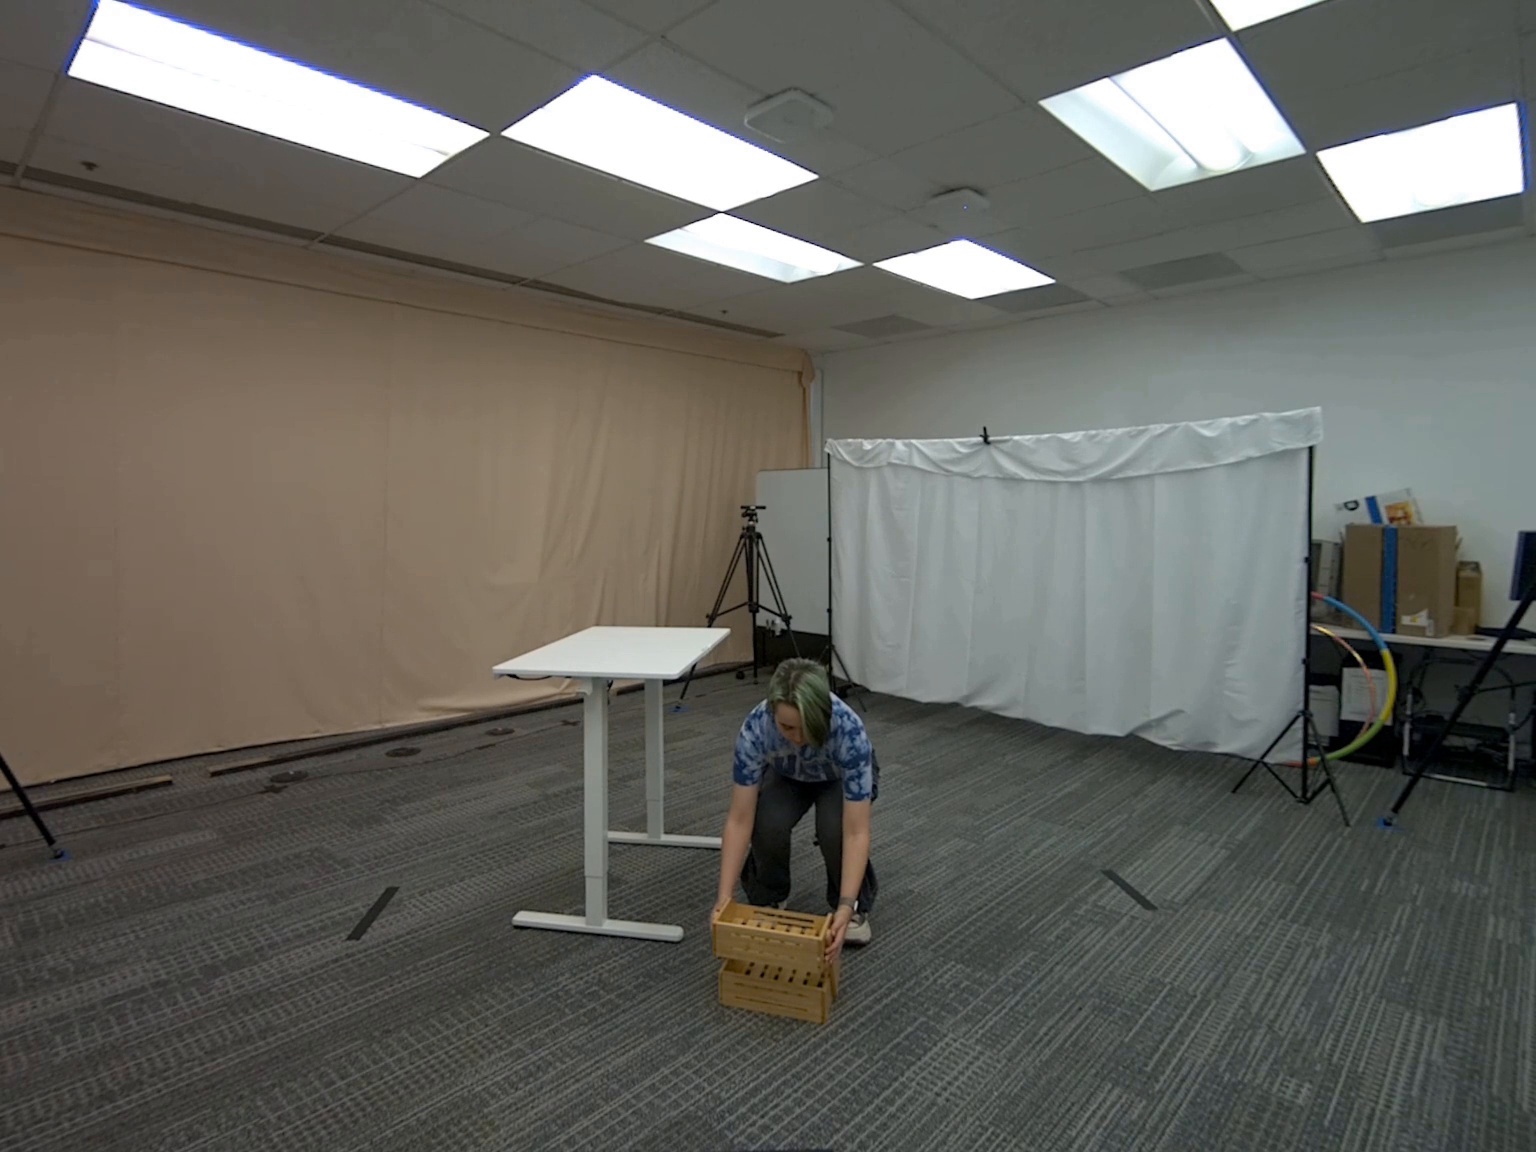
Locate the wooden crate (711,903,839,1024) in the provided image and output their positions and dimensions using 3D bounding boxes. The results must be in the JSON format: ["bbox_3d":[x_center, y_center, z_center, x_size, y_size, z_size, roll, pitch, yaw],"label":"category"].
[{"bbox_3d":[0.033,1.058,2.395,0.330,0.273,0.297,1,4,16],"label":"wooden crate"}]
